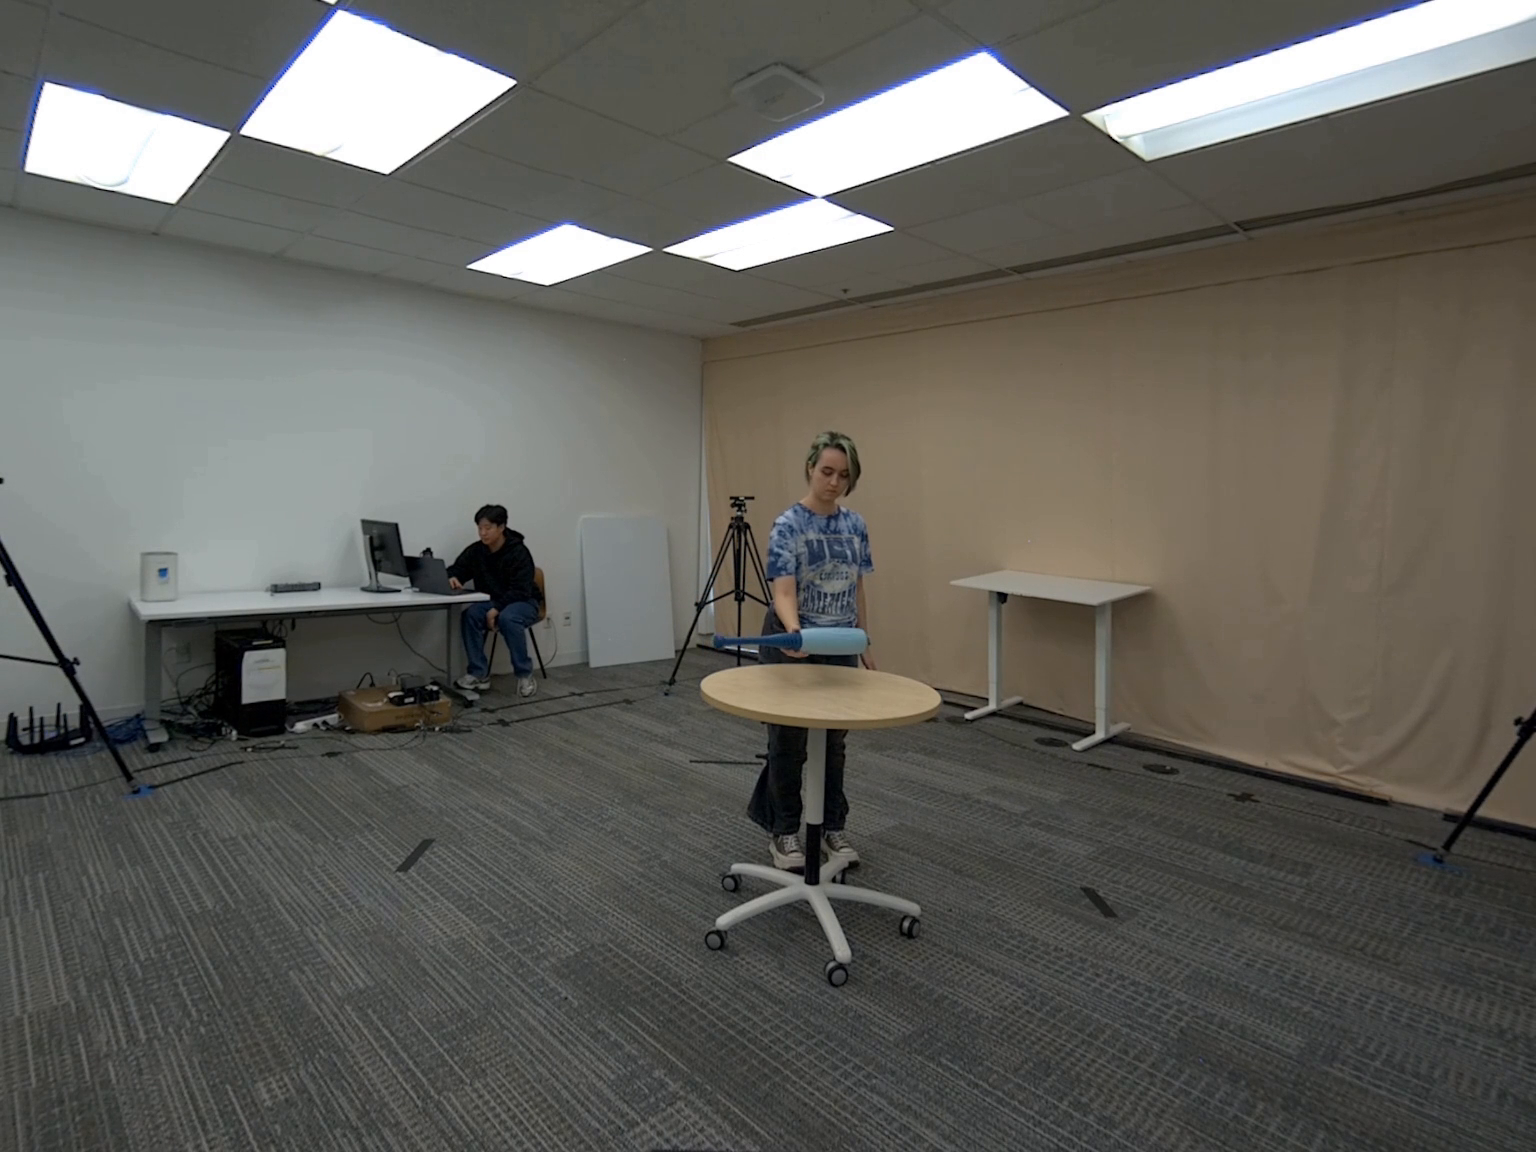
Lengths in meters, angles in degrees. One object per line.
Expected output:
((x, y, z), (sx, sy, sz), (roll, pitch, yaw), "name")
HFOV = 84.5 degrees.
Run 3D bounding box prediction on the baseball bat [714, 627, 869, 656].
((0.077, 0.217, 2.724), (0.534, 0.089, 0.091), (1, 4, -21), "baseball bat")
